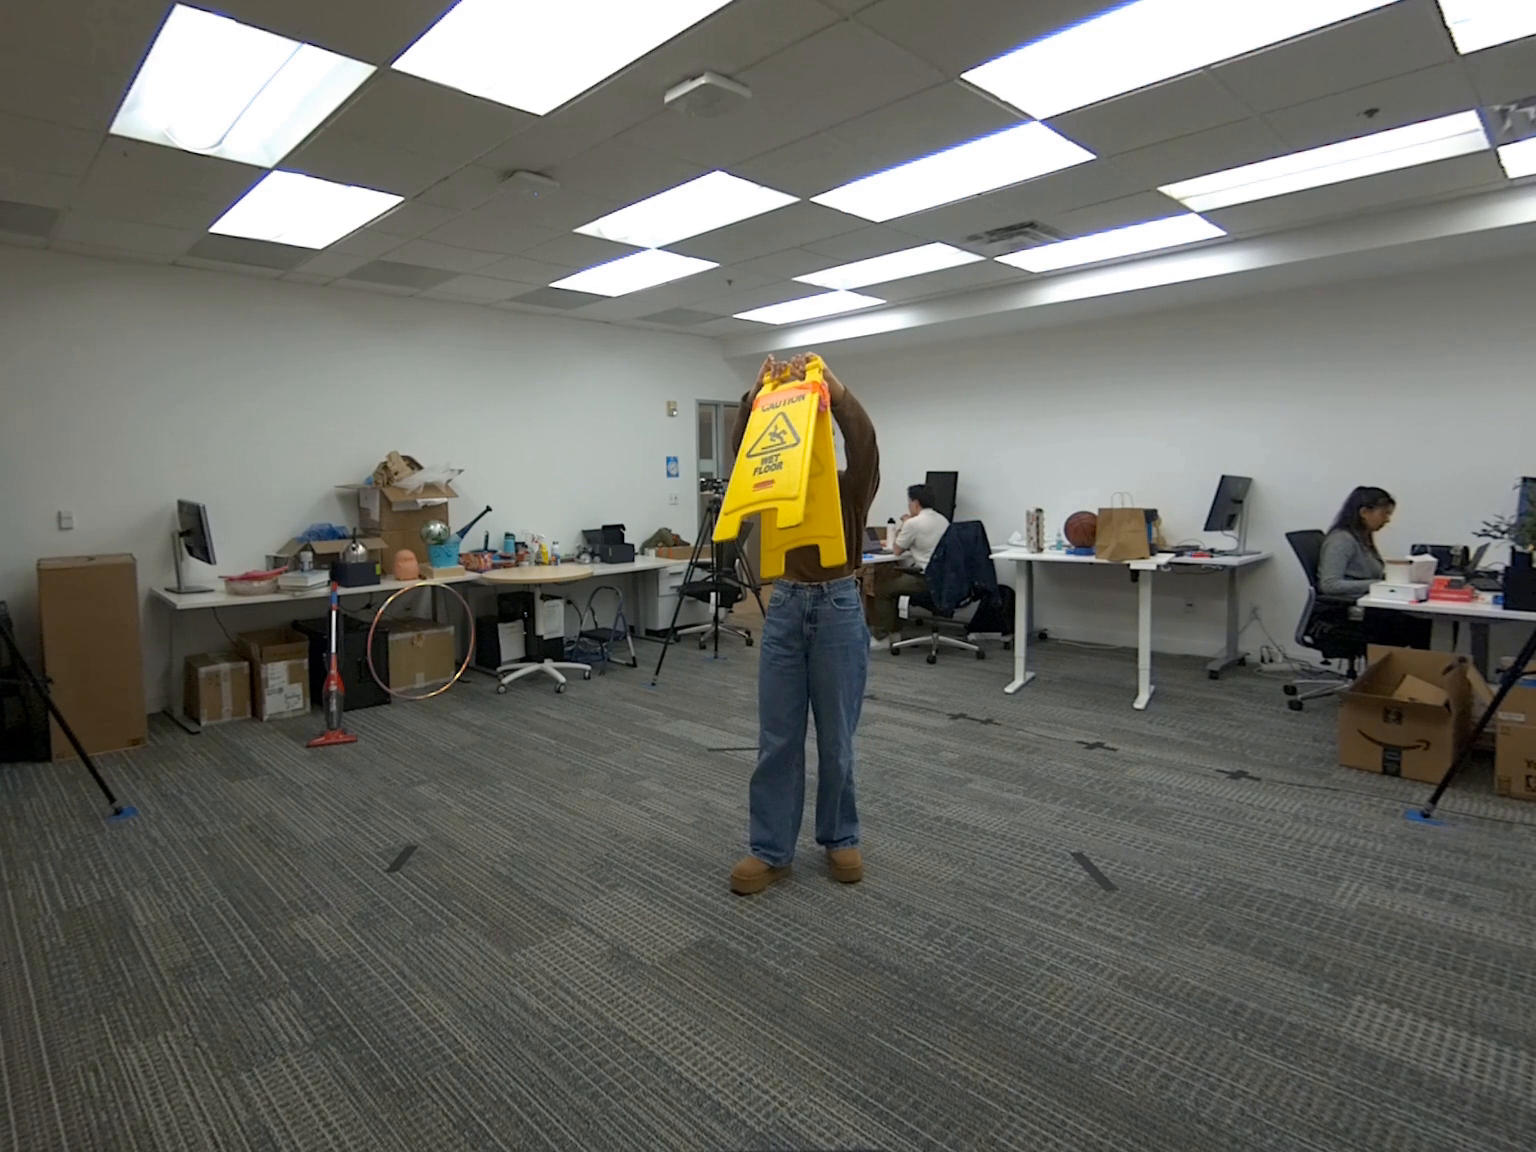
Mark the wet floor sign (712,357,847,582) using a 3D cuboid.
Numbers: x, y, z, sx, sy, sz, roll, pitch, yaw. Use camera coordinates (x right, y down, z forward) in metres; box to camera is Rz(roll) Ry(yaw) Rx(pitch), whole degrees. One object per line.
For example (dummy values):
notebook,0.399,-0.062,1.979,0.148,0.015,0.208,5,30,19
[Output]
wet floor sign,0.056,-0.357,2.499,0.288,0.659,0.278,-14,-30,31
